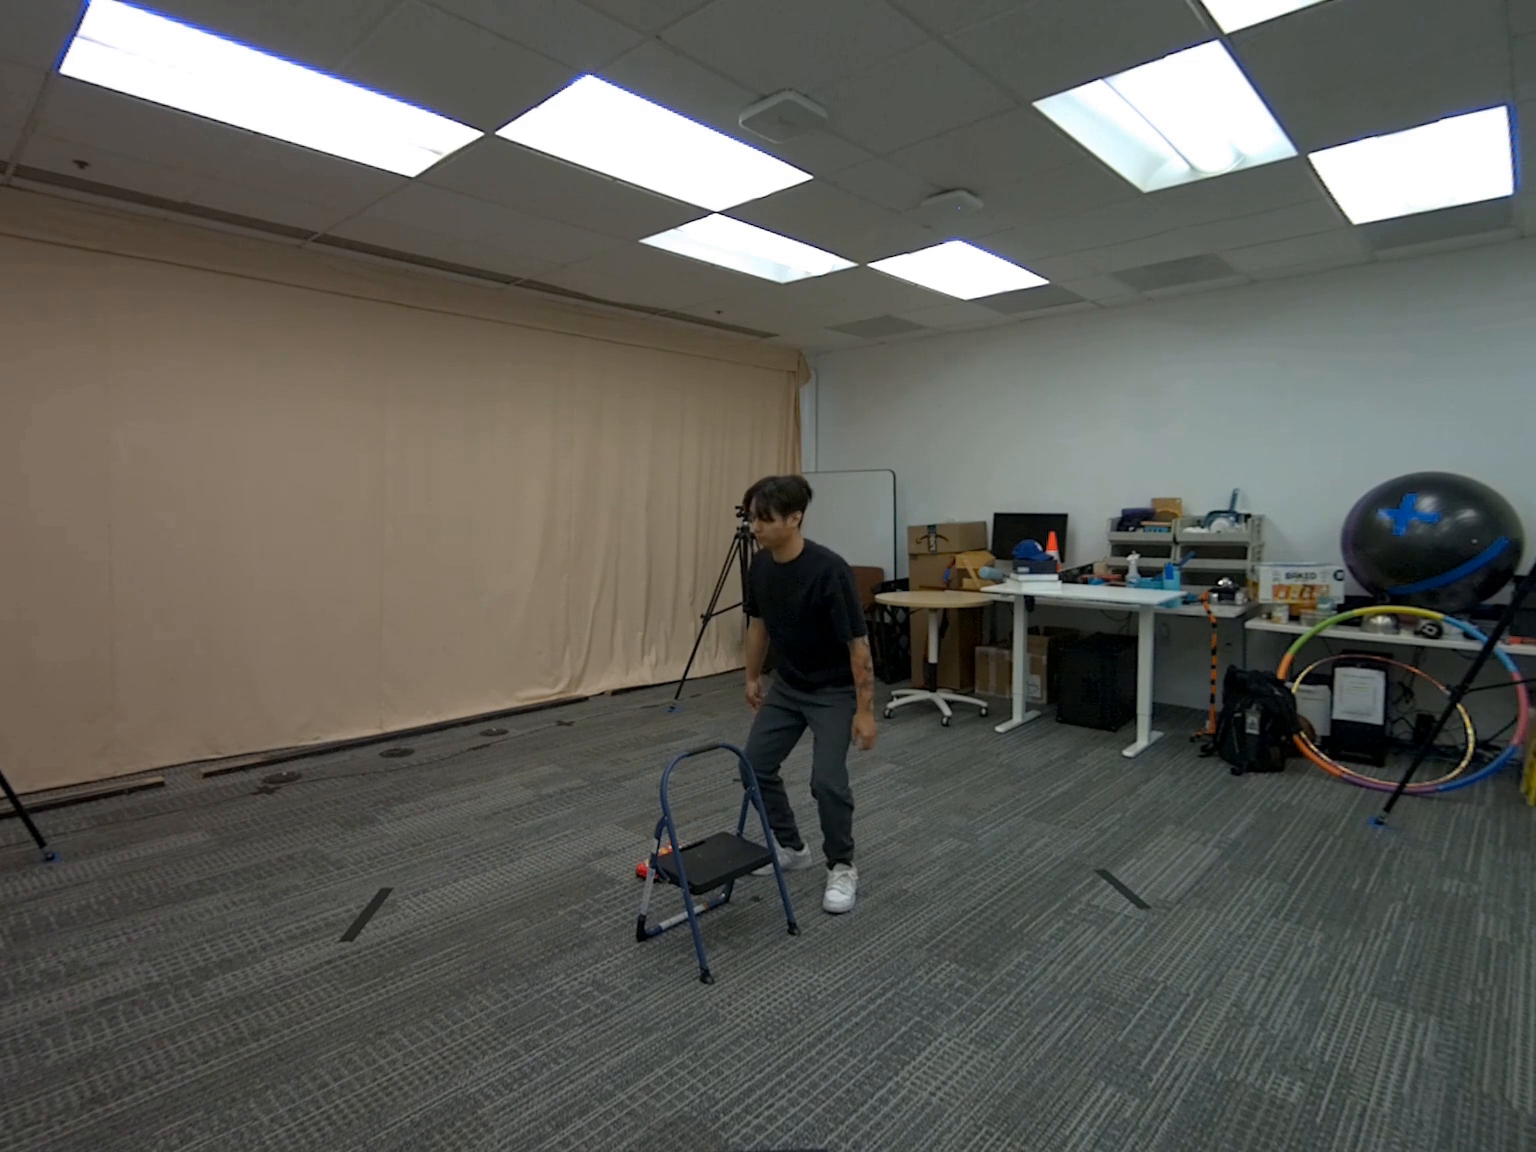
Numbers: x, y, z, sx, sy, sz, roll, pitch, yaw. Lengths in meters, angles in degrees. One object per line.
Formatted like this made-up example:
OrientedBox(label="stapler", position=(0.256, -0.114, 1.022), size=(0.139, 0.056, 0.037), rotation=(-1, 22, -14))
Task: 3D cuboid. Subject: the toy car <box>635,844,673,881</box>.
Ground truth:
OrientedBox(label="toy car", position=(-0.401, 1.100, 3.226), size=(0.134, 0.082, 0.250), rotation=(0, 15, 29))
